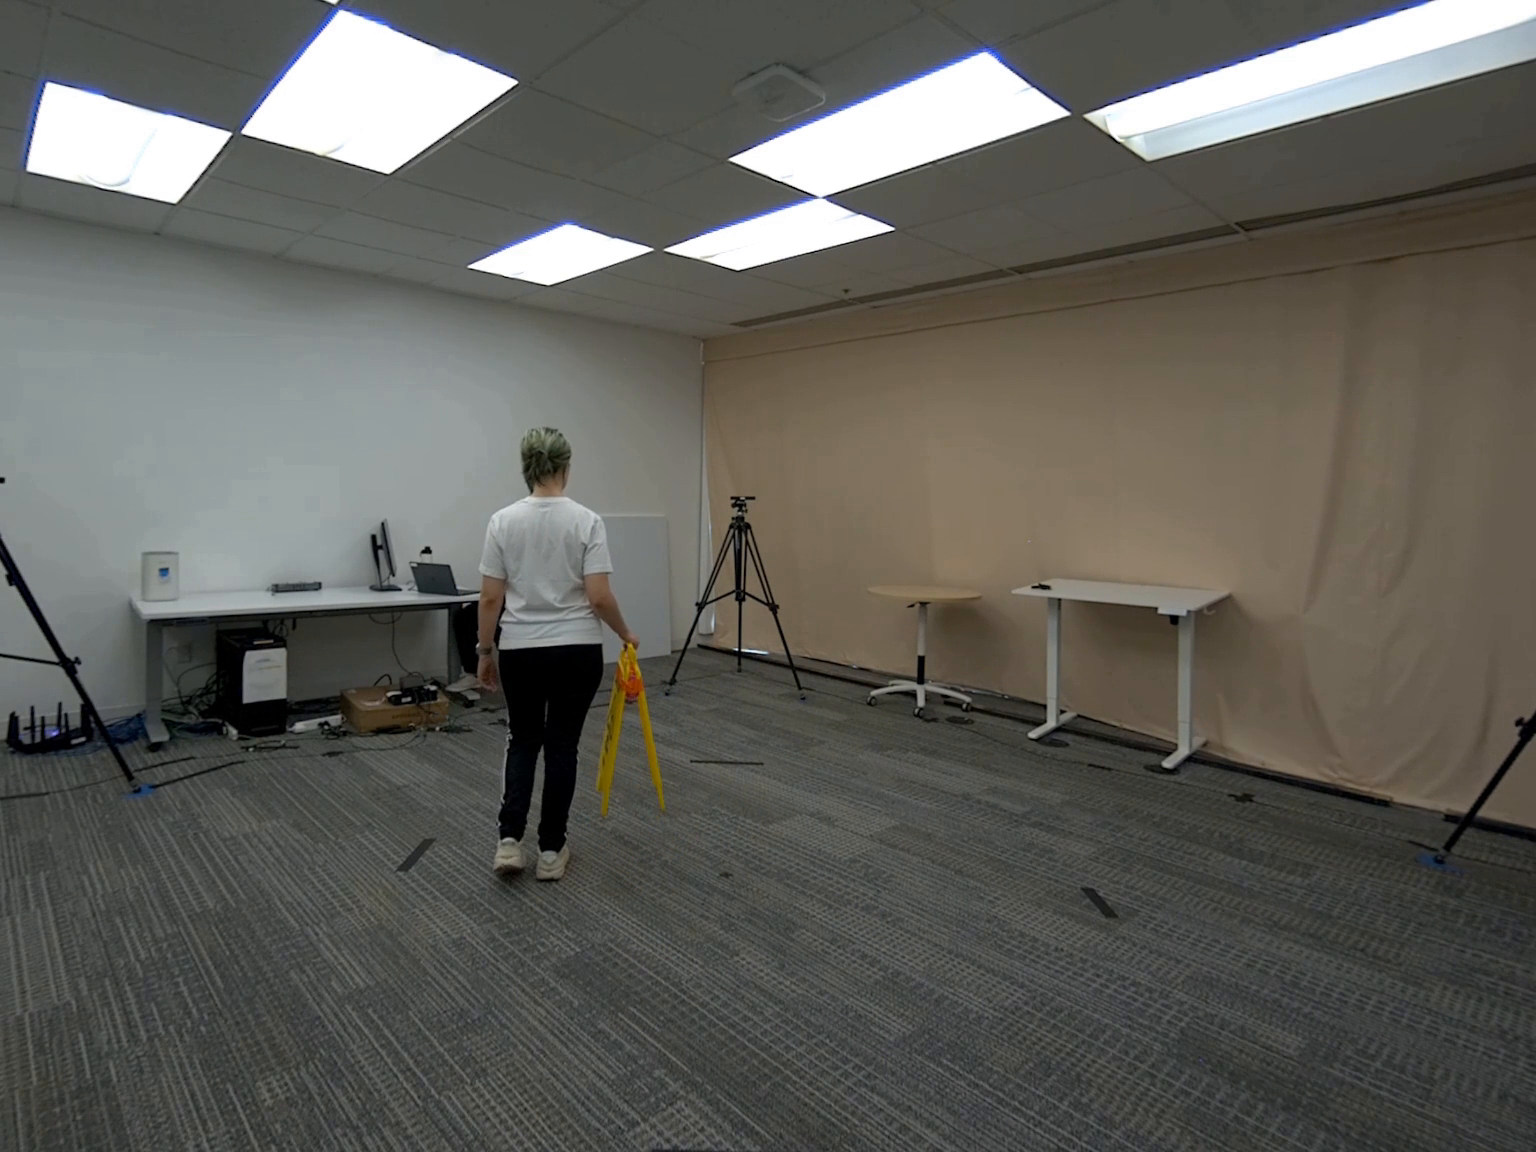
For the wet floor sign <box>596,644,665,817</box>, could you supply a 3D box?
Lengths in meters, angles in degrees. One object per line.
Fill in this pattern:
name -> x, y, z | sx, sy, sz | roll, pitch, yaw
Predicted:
wet floor sign -> -0.544, 0.561, 3.271 | 0.287, 0.641, 0.287 | 1, 11, -13
